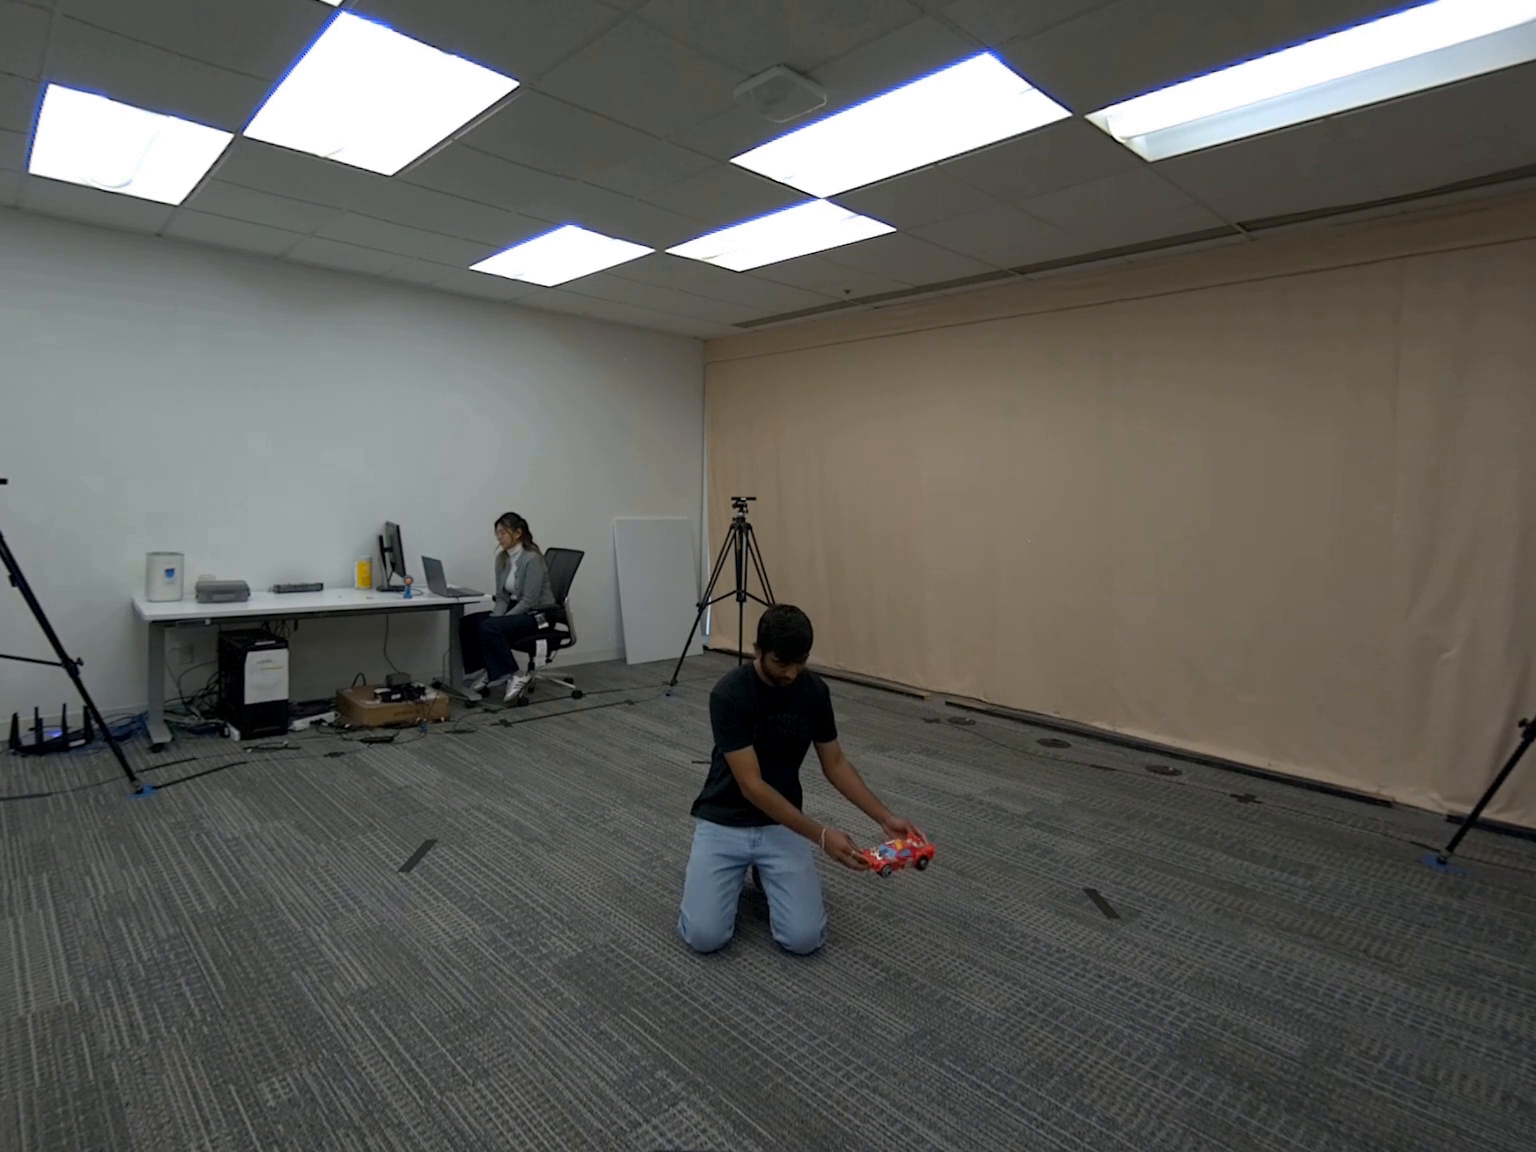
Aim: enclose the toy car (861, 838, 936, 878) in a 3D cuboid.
[{"bbox_3d":[0.382,0.862,2.565,0.250,0.082,0.133,-10,12,-32],"label":"toy car"}]
